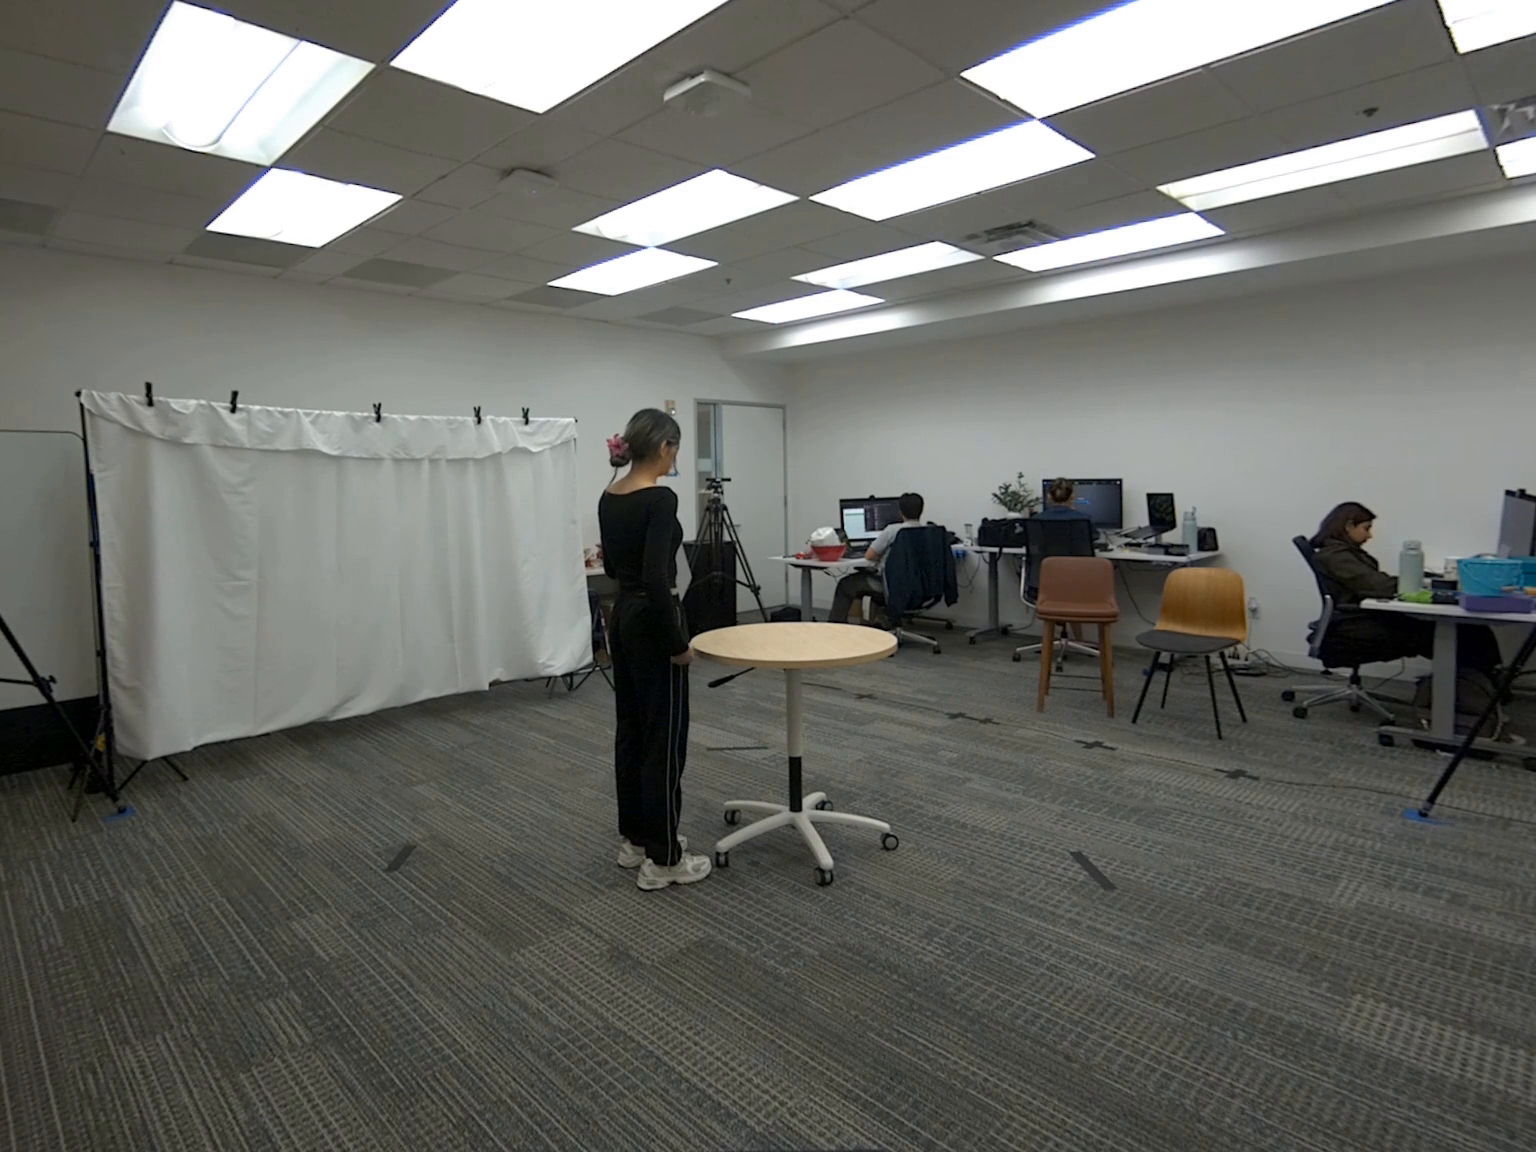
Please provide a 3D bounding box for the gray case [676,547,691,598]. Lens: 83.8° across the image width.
[{"bbox_3d":[-0.406,-0.037,3.479,0.105,0.254,0.260,-8,26,14],"label":"gray case"}]
